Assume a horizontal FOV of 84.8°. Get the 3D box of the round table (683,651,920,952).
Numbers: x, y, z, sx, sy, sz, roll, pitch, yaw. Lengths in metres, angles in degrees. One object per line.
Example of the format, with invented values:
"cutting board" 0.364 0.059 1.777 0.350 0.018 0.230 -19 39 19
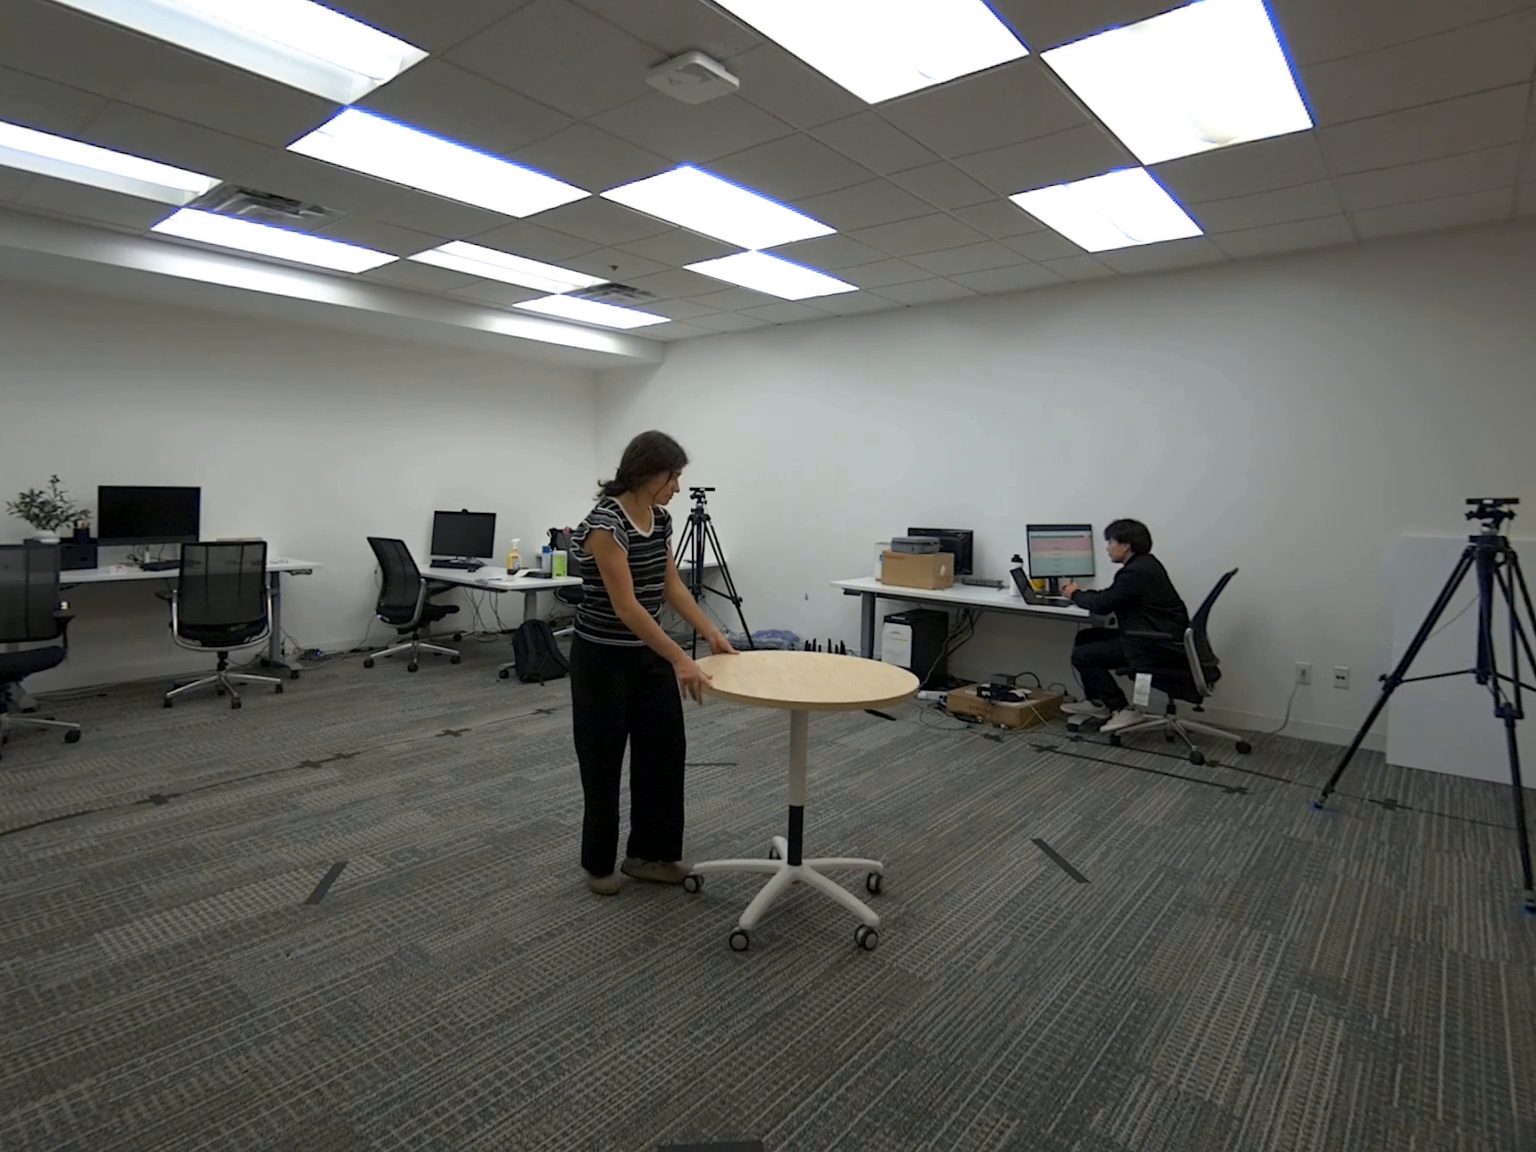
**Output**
"round table" 0.102 0.706 2.835 0.784 0.784 0.789 1 4 -2
